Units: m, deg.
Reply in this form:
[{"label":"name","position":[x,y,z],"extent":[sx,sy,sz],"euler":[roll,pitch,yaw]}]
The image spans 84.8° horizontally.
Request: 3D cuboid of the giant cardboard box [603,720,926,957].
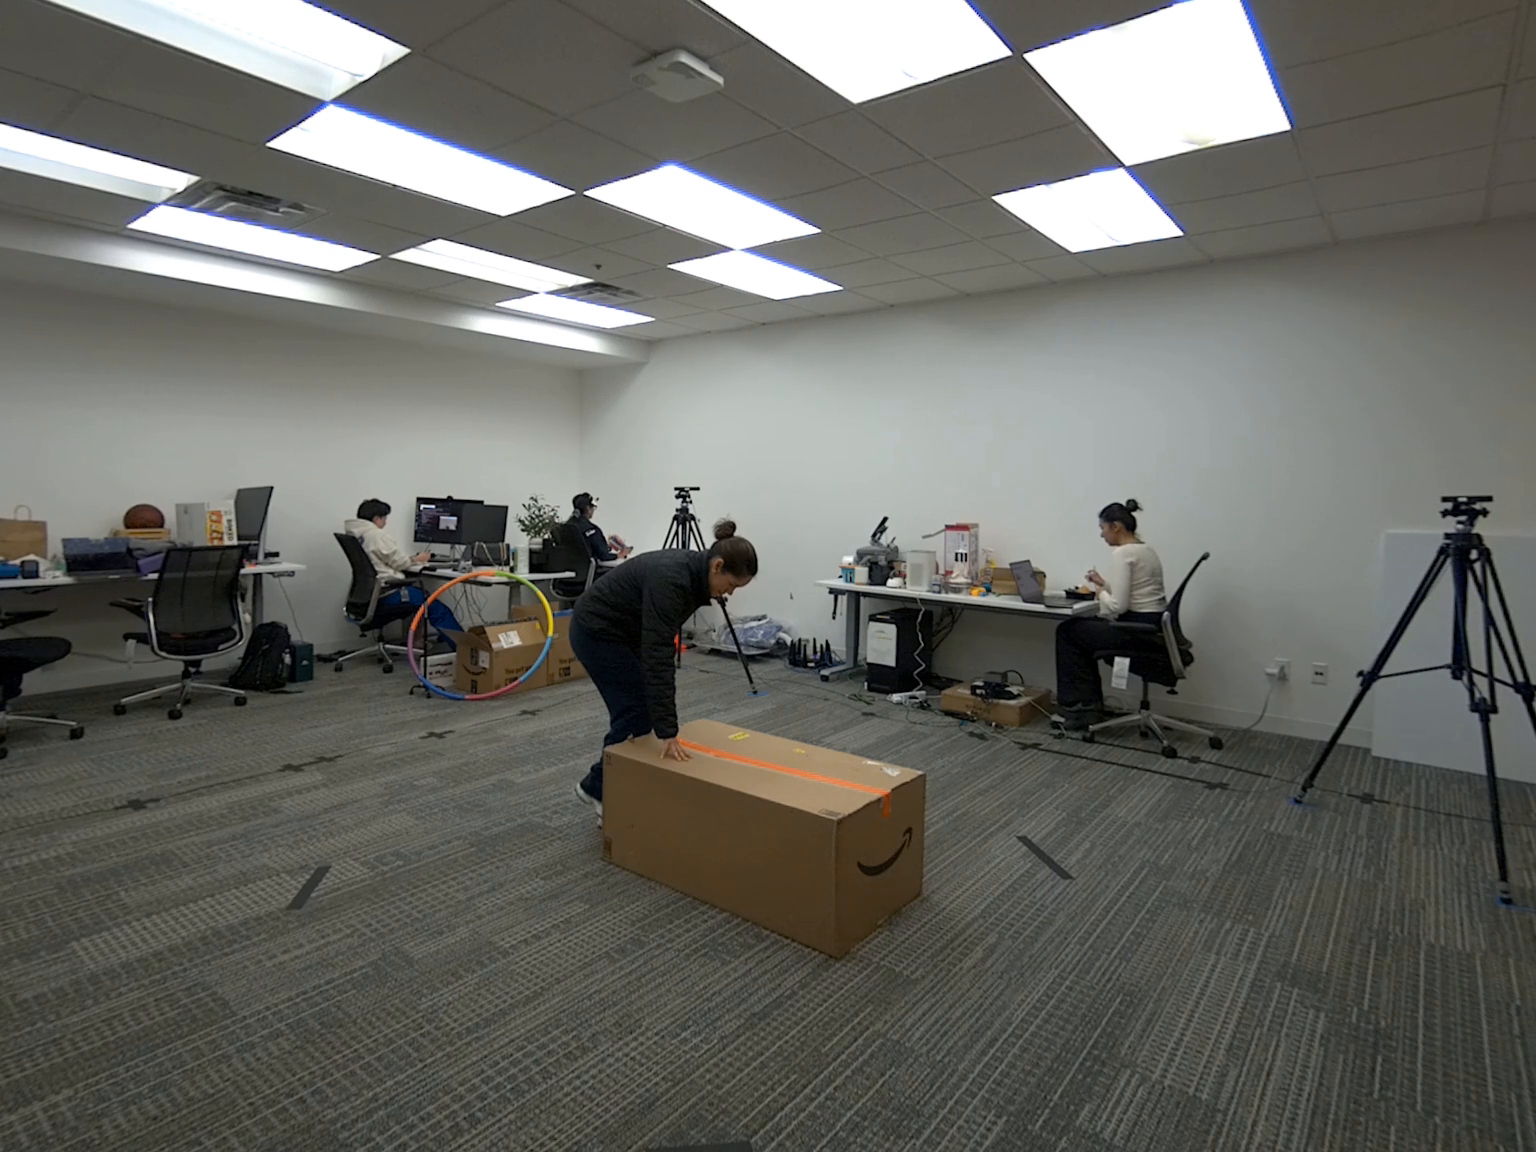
[{"label":"giant cardboard box","position":[-0.023,0.866,3.059],"extent":[1.062,0.445,0.567],"euler":[6,8,38]}]
